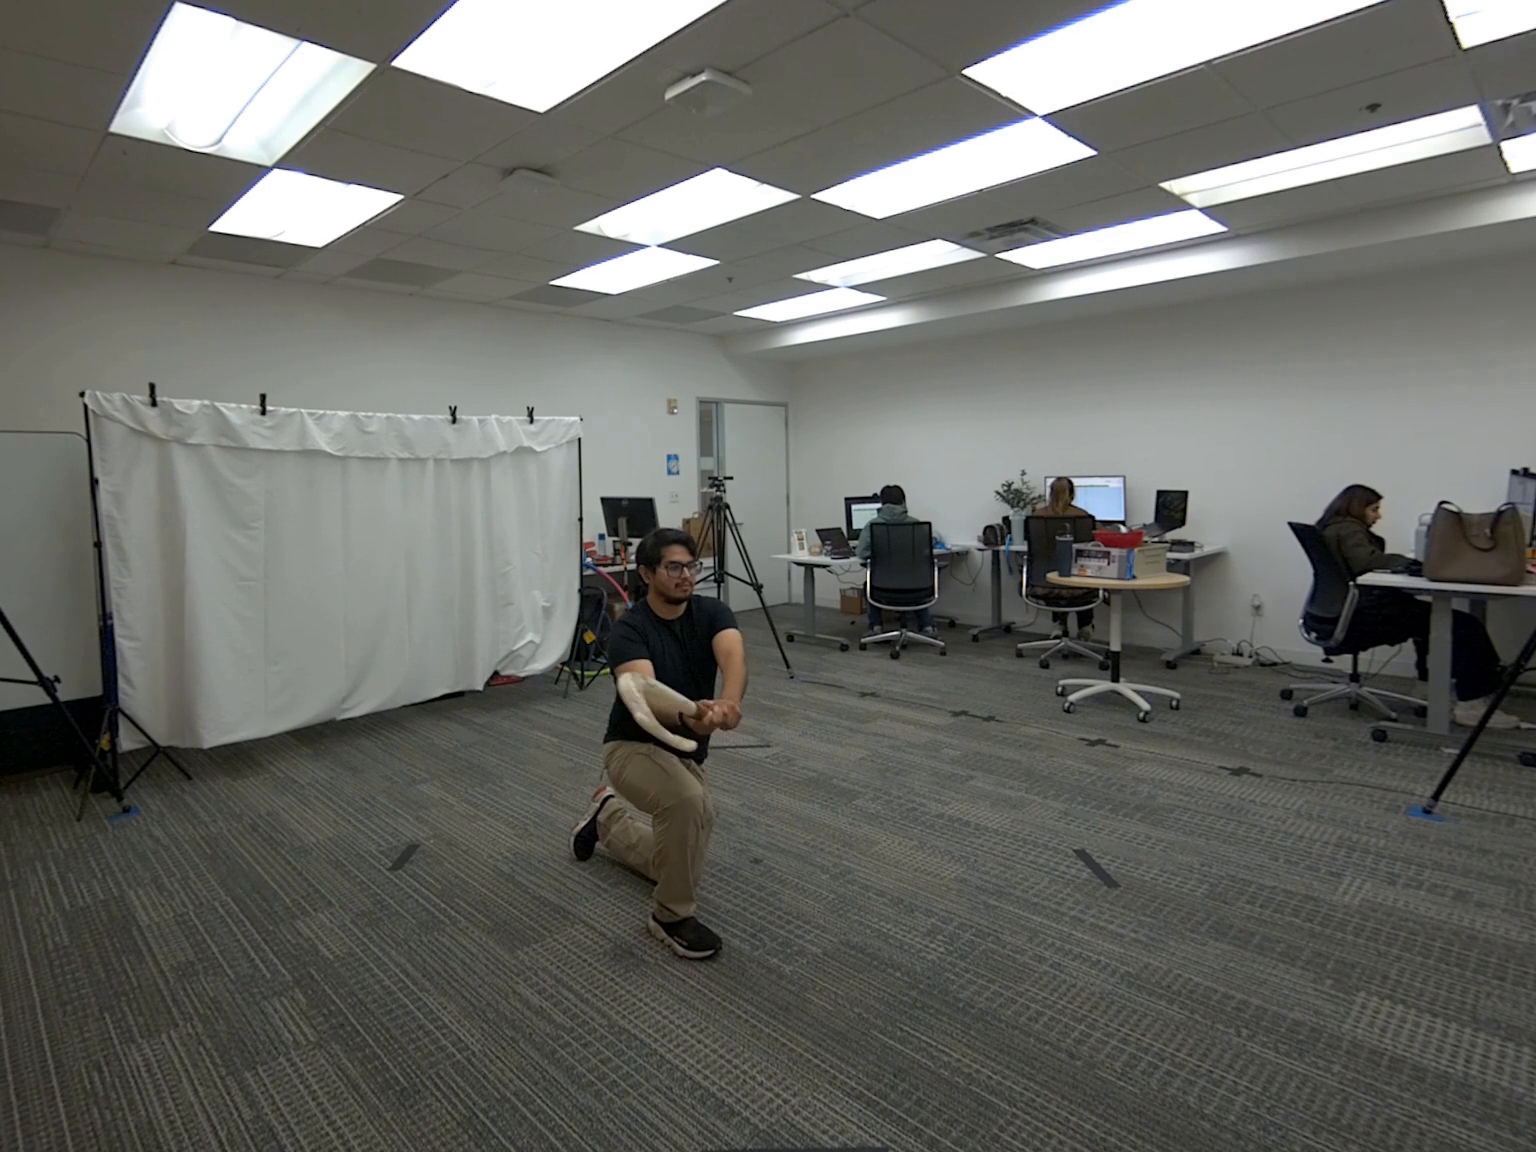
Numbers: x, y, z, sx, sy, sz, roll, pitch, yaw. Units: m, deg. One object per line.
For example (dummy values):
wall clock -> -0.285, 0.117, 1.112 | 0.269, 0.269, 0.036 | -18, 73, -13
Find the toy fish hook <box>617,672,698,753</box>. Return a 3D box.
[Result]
toy fish hook -> -0.183, 0.369, 2.136 | 0.048, 0.233, 0.488 | -42, -35, 13
